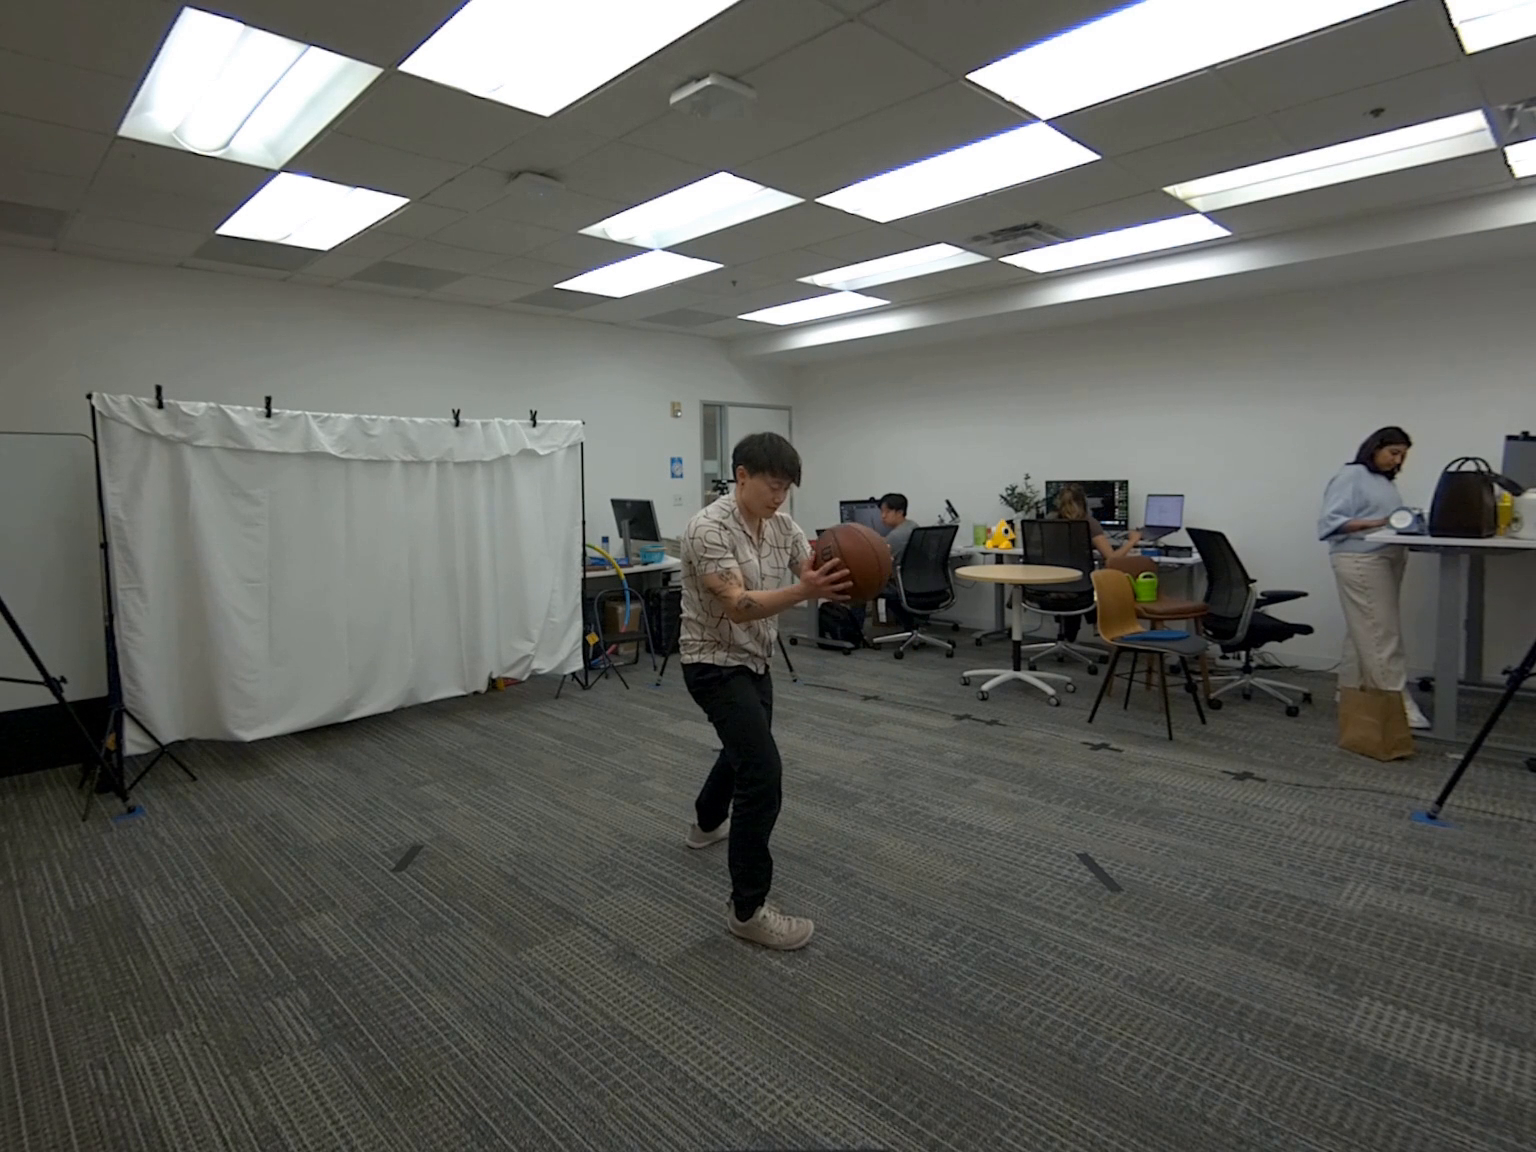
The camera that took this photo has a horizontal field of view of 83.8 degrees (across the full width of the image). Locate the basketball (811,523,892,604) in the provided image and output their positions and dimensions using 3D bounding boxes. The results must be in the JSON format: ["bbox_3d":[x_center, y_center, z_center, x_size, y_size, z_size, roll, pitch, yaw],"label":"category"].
[{"bbox_3d":[0.247,-0.029,2.483,0.236,0.235,0.237,-1,5,-2],"label":"basketball"}]
